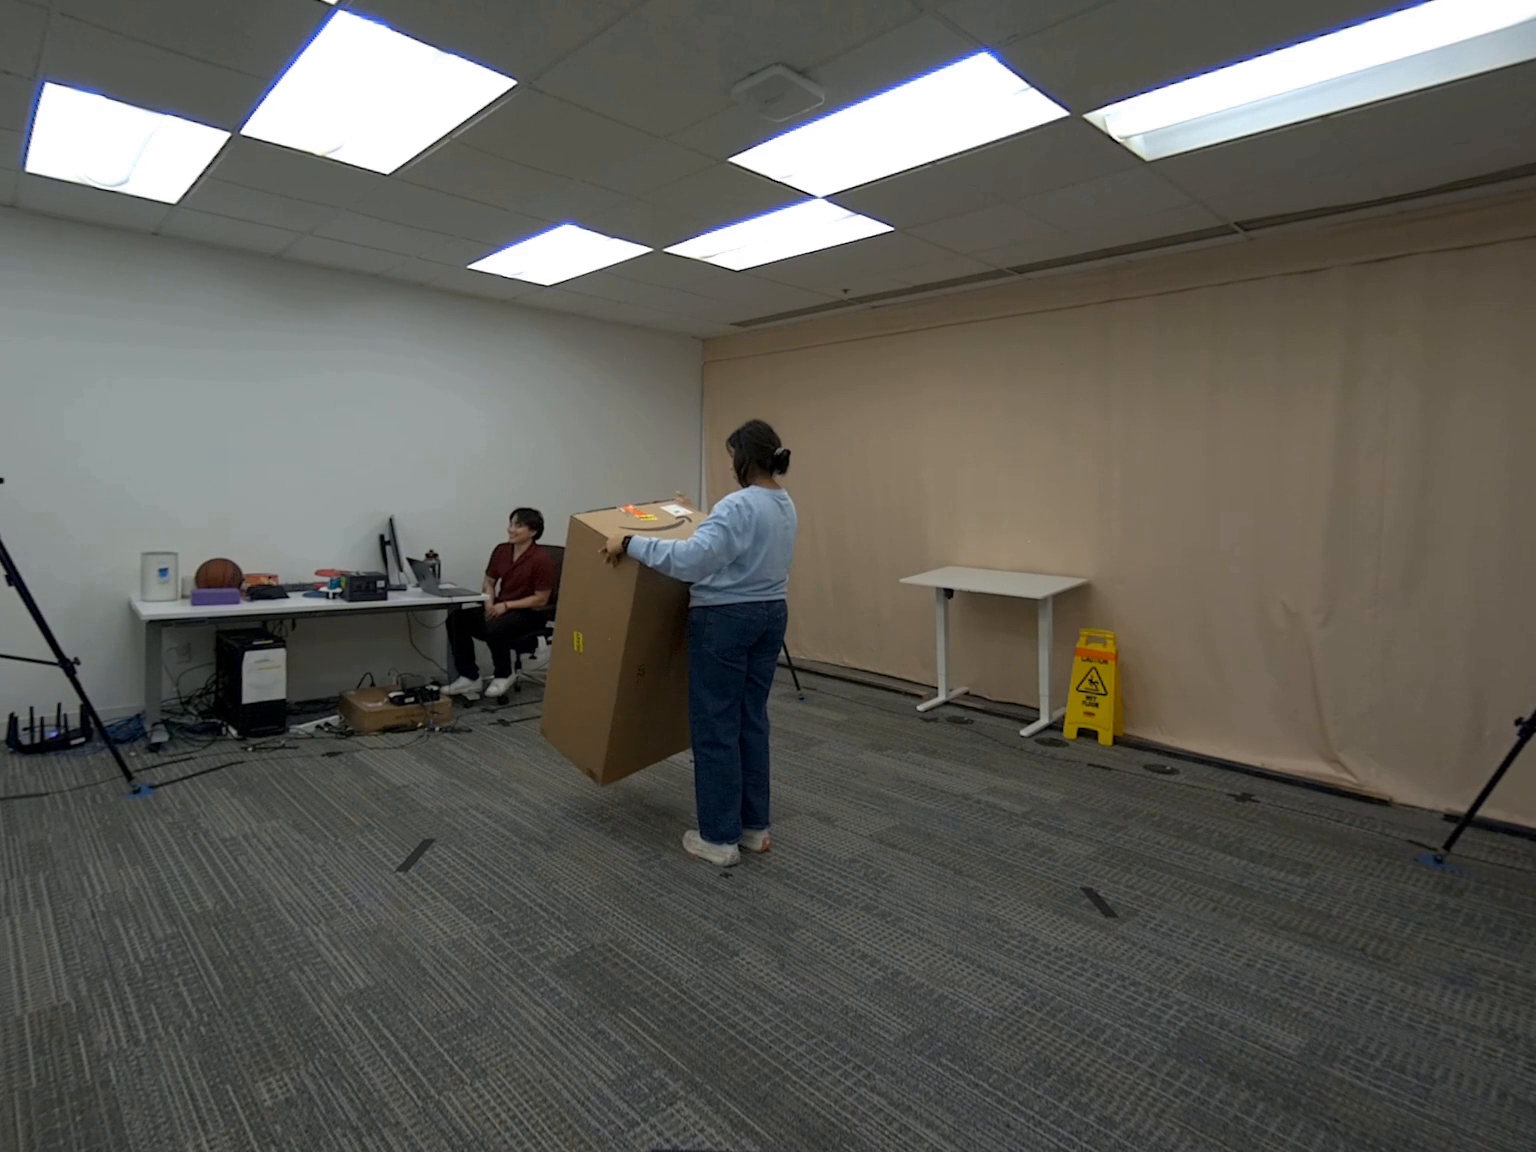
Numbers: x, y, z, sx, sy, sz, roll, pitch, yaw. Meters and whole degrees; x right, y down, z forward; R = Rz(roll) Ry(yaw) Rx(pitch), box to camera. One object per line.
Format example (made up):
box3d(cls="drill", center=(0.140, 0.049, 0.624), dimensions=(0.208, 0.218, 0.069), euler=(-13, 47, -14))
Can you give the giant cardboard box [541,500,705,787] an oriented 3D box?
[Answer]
box3d(cls="giant cardboard box", center=(-0.540, 0.257, 3.500), dimensions=(0.460, 1.015, 0.573), euler=(29, 27, 35))
